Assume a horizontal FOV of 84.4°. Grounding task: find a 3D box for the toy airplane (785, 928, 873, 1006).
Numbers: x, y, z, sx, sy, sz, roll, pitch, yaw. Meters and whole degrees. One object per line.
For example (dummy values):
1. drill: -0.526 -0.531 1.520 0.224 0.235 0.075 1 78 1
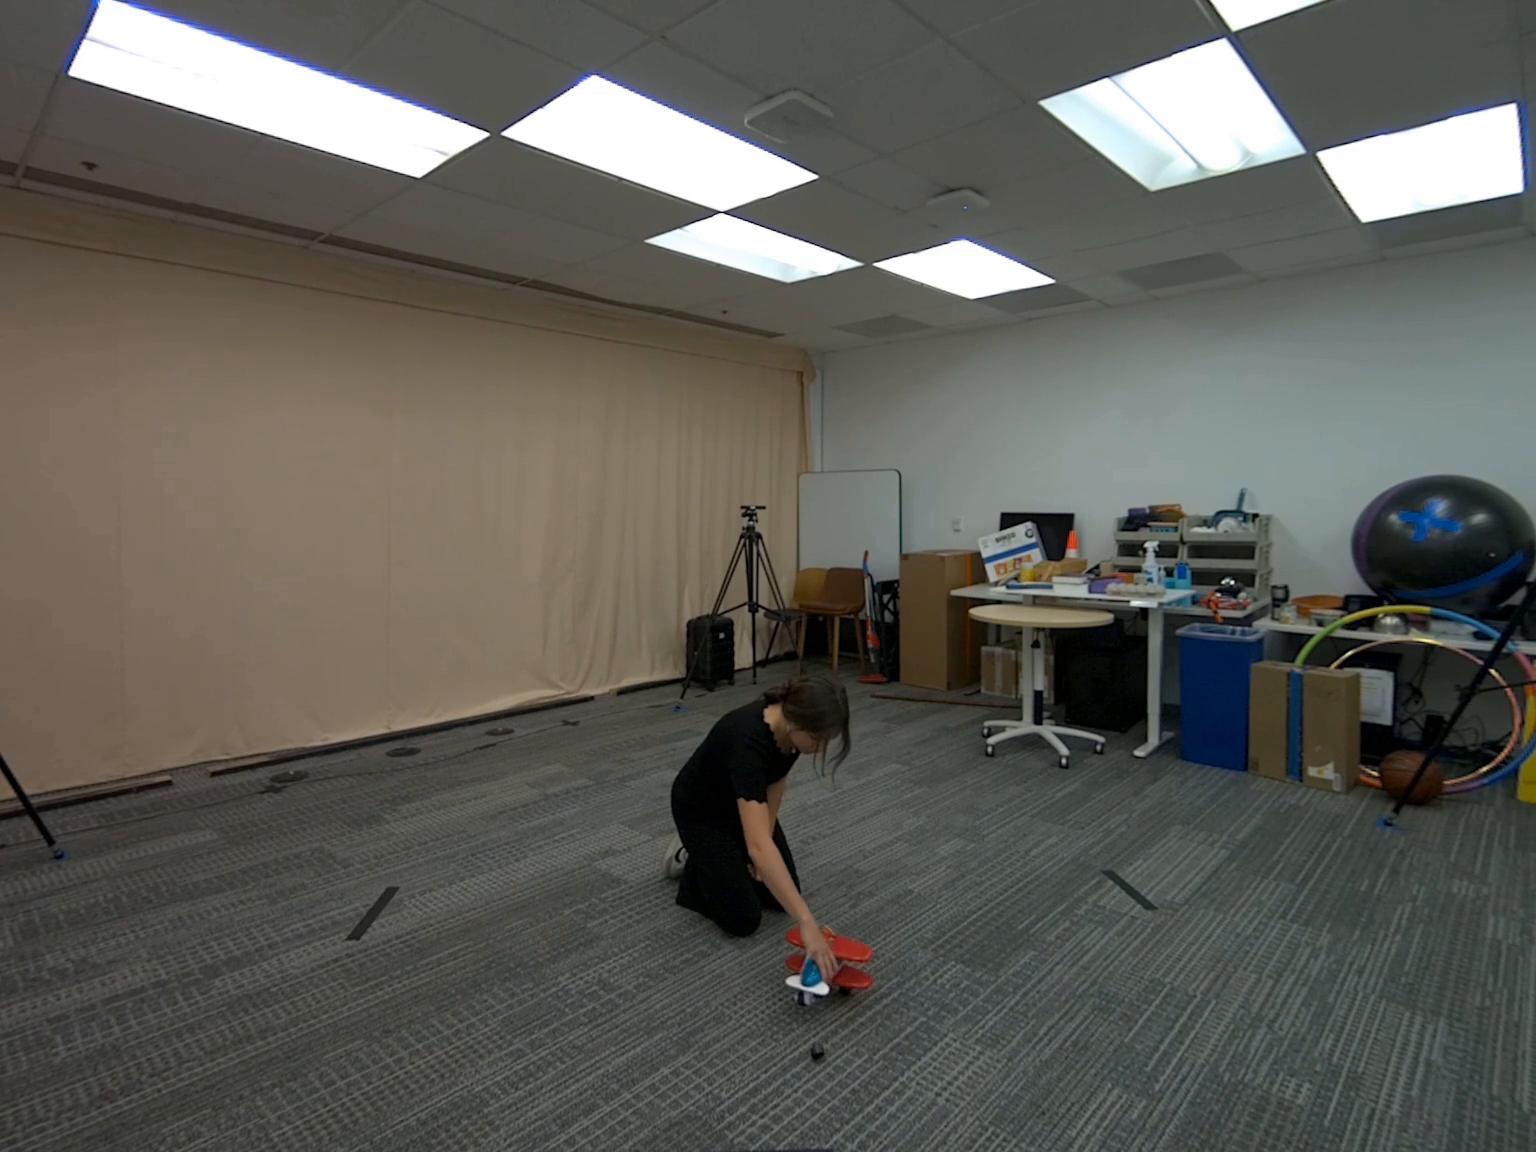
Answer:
1. toy airplane: 0.177 1.108 2.349 0.251 0.157 0.258 7 -8 0
